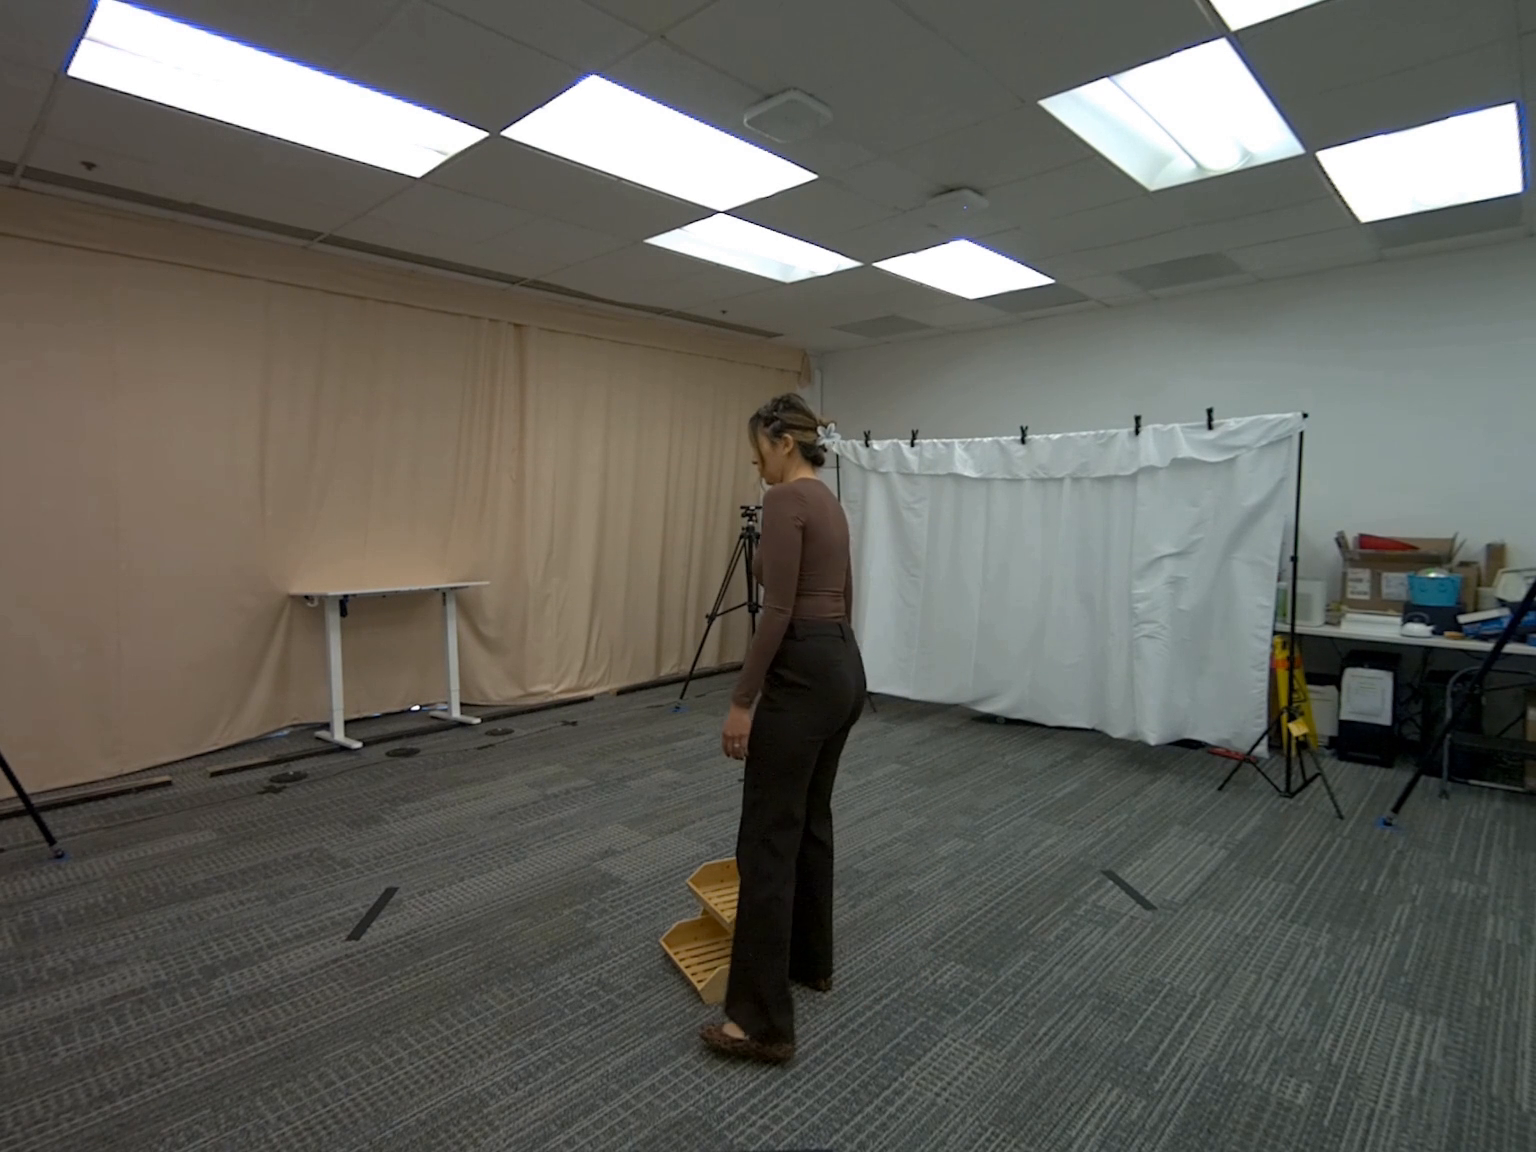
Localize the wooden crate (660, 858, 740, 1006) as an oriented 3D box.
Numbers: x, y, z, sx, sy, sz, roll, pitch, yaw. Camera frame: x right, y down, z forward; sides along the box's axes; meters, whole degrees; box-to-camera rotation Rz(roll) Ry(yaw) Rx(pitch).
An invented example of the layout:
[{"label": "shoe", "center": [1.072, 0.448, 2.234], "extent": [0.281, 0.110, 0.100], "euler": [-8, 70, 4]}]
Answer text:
[{"label": "wooden crate", "center": [-0.134, 1.049, 2.529], "extent": [0.294, 0.273, 0.333], "euler": [-1, 4, -28]}]
